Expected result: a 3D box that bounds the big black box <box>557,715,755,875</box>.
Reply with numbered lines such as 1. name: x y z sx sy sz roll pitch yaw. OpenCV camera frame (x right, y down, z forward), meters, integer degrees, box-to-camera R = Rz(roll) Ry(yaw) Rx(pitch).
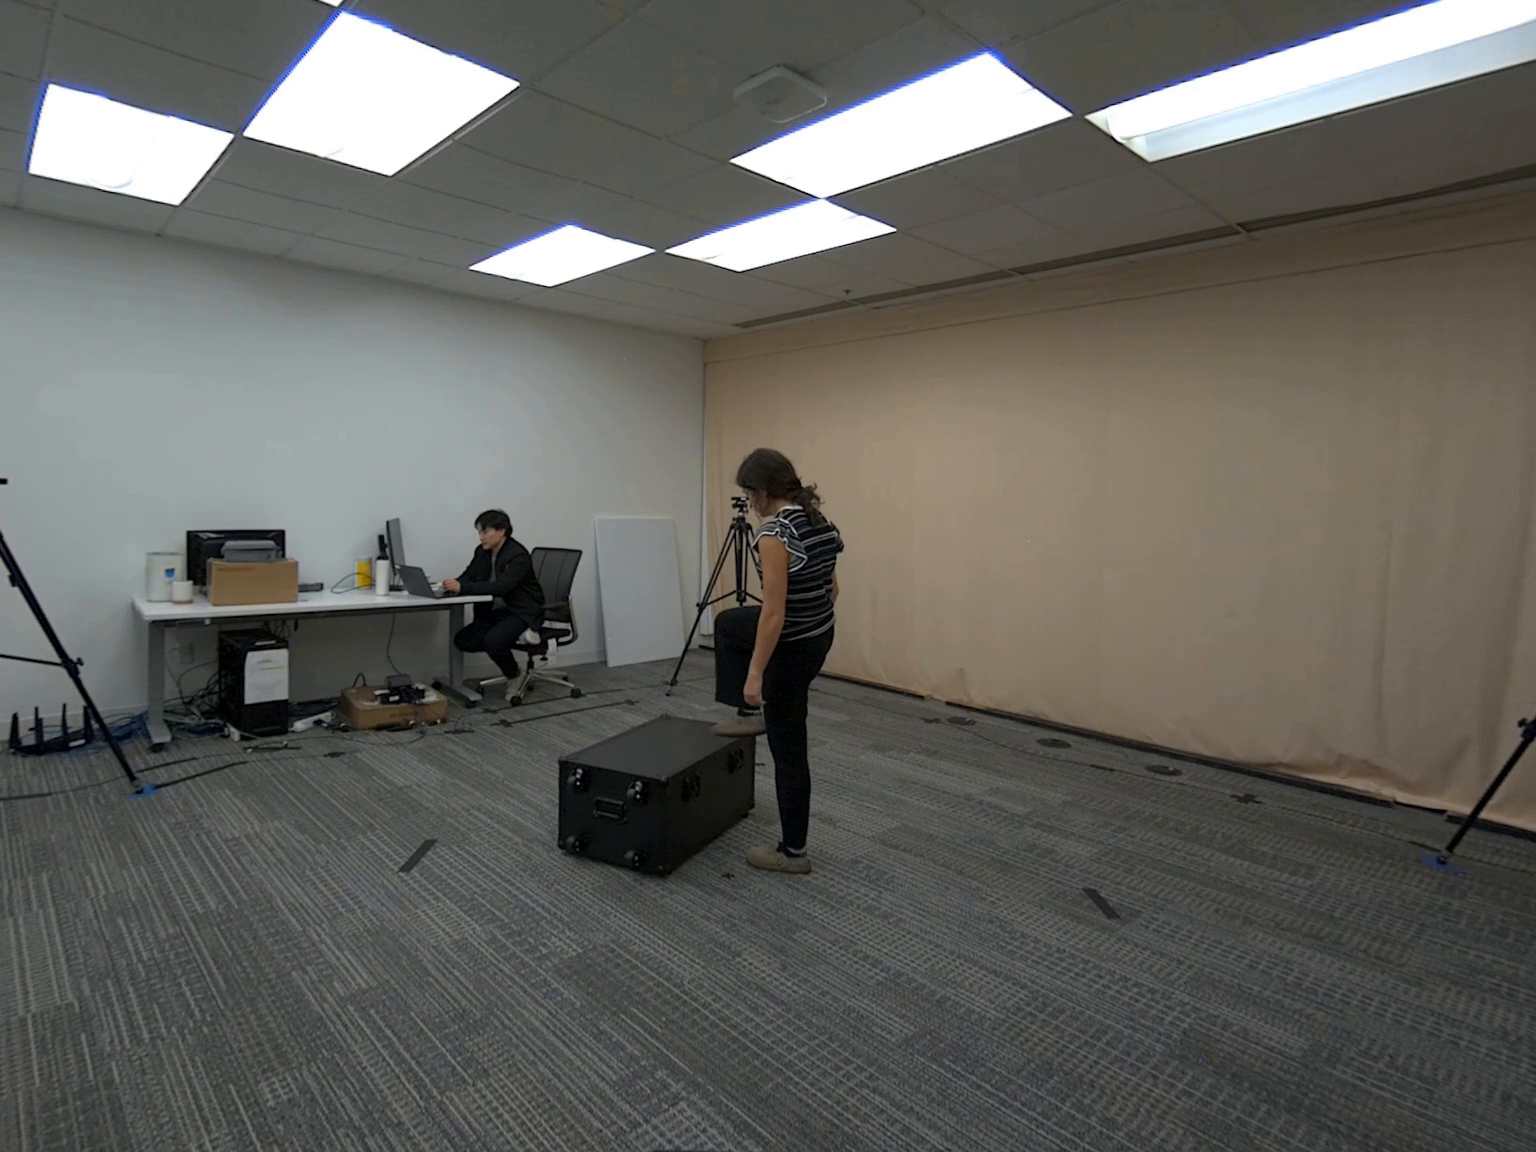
1. big black box: -0.452 0.875 3.456 0.531 0.395 0.847 4 5 24
